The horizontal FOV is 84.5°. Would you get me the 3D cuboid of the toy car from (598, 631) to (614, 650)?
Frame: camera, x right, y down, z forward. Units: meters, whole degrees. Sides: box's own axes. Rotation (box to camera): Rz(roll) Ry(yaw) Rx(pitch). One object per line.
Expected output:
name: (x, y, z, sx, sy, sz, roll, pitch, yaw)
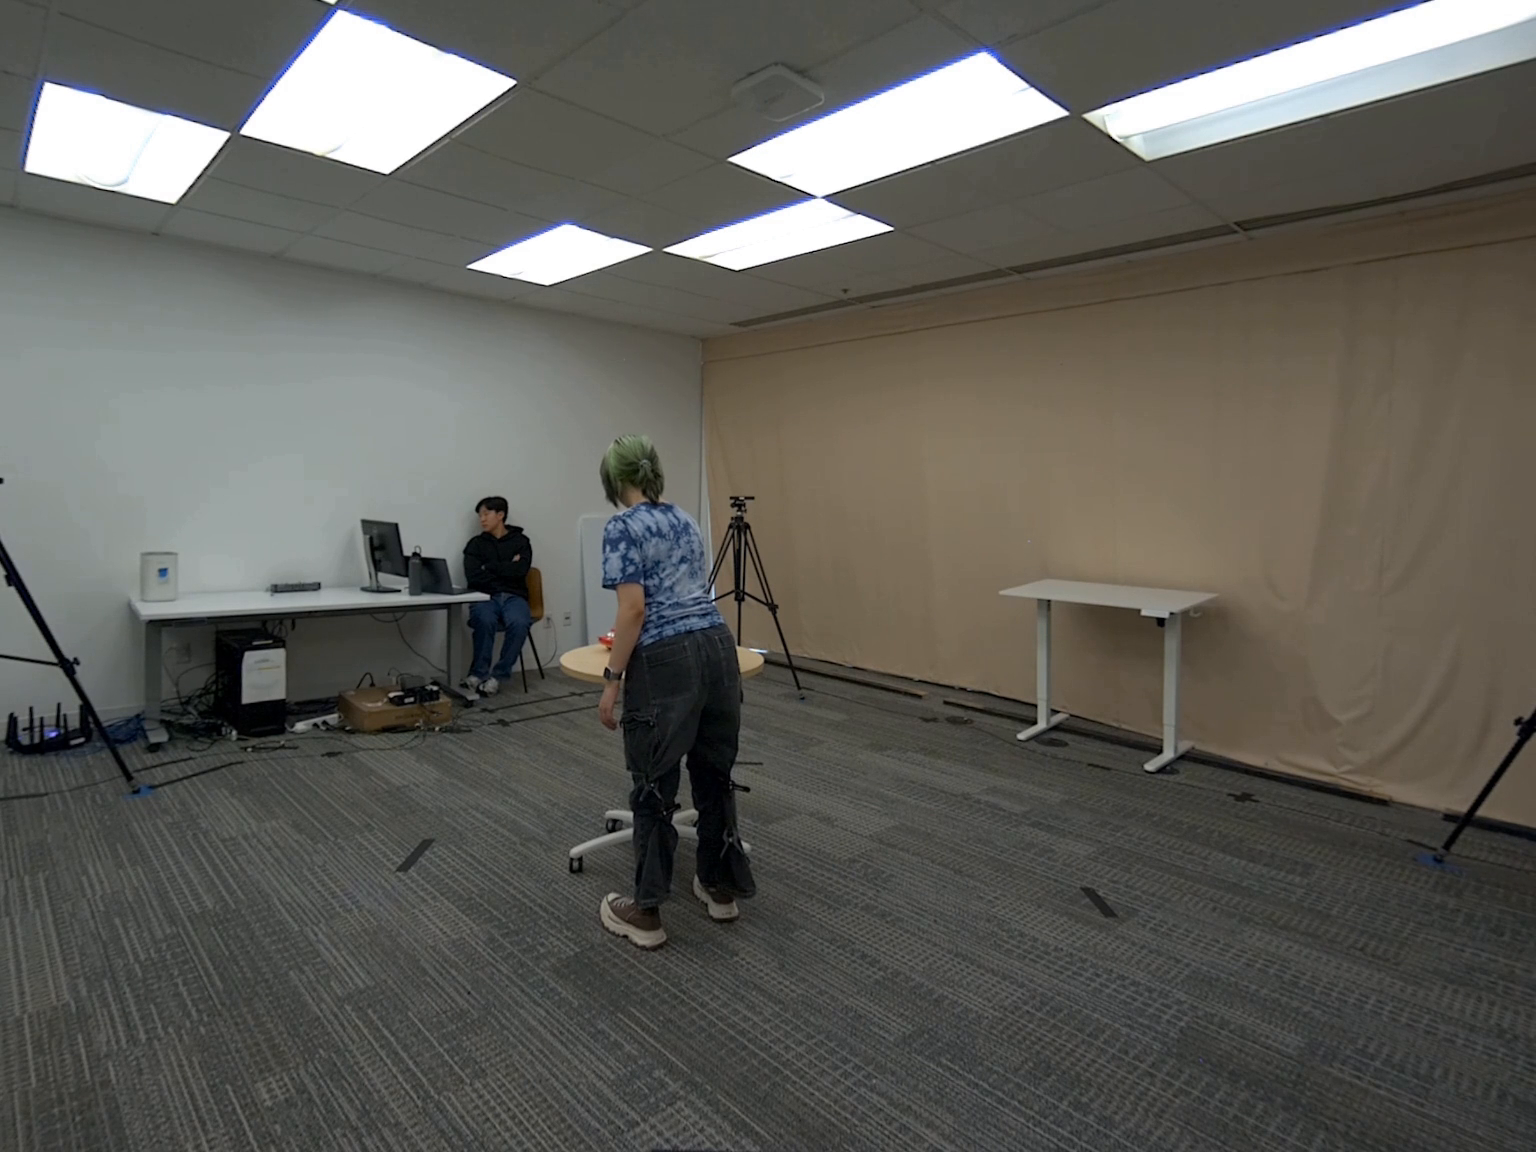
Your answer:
toy car: (-0.571, 0.262, 3.338, 0.133, 0.083, 0.247, 5, -4, 45)
